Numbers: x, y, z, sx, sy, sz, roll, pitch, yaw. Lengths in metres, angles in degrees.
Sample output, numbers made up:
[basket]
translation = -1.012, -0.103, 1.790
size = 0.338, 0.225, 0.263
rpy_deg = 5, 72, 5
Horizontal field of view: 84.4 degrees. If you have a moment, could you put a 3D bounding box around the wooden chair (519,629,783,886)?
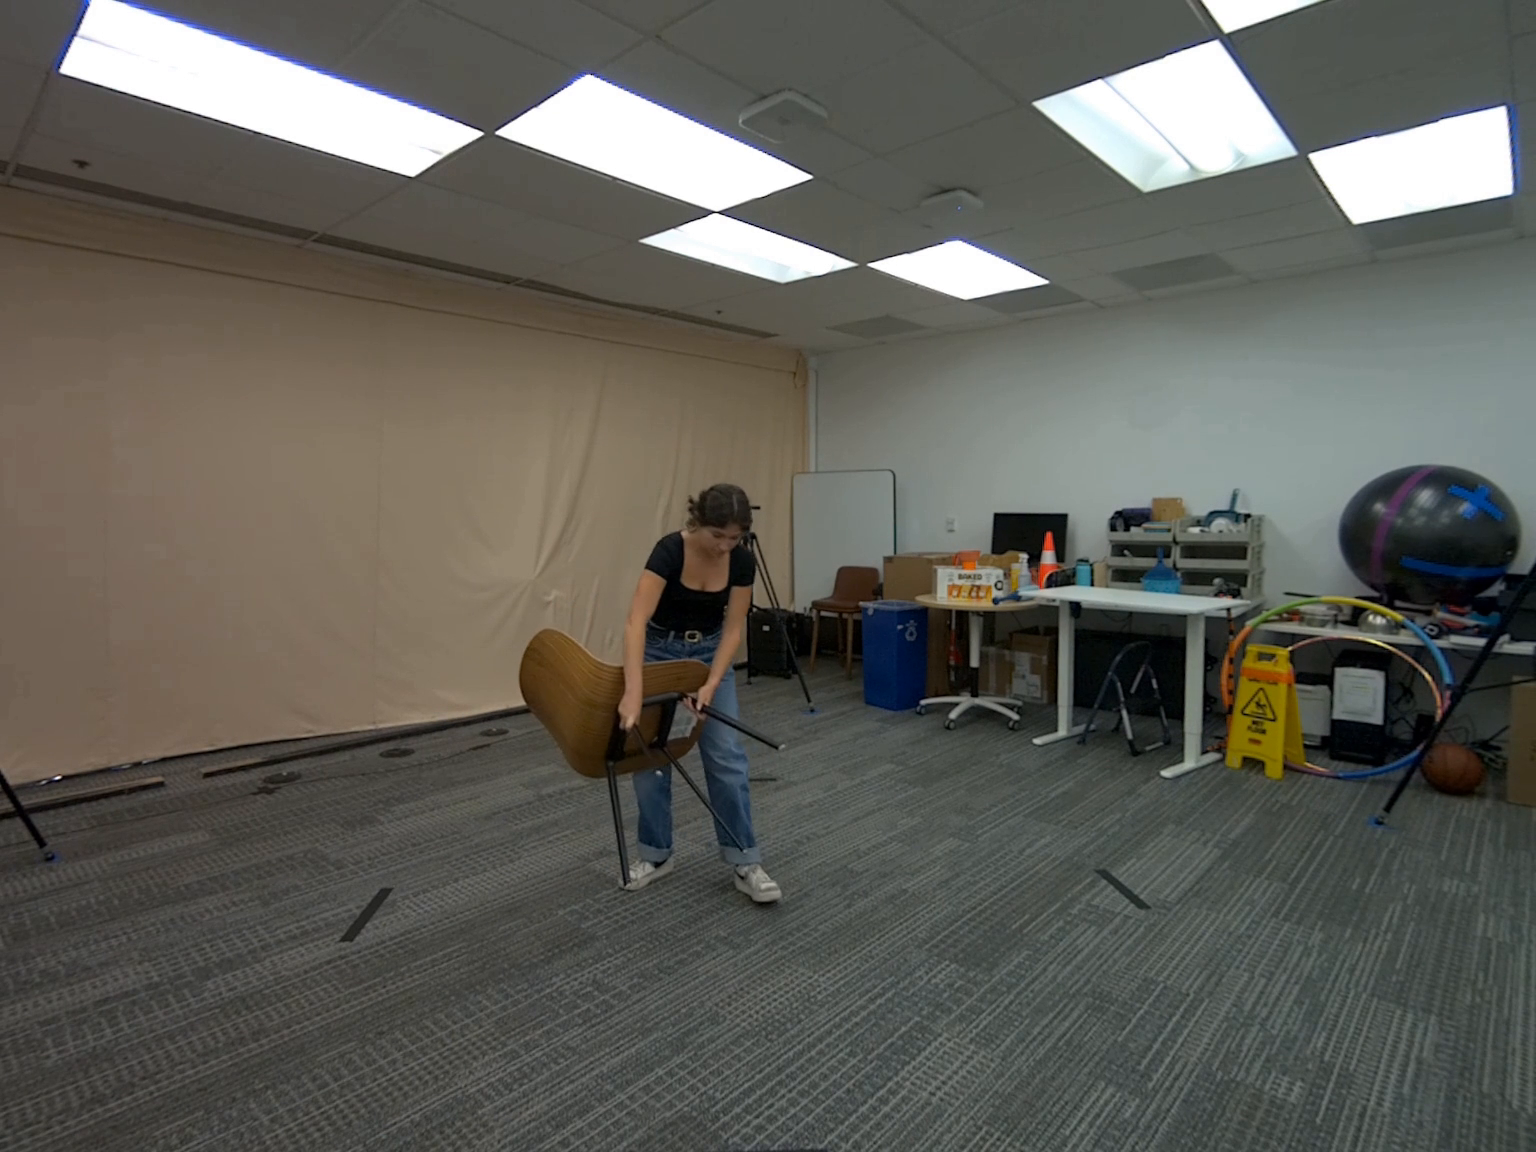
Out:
[wooden chair]
translation = -0.413, 0.521, 2.855
size = 0.507, 0.475, 0.910
rpy_deg = -5, 32, -40
